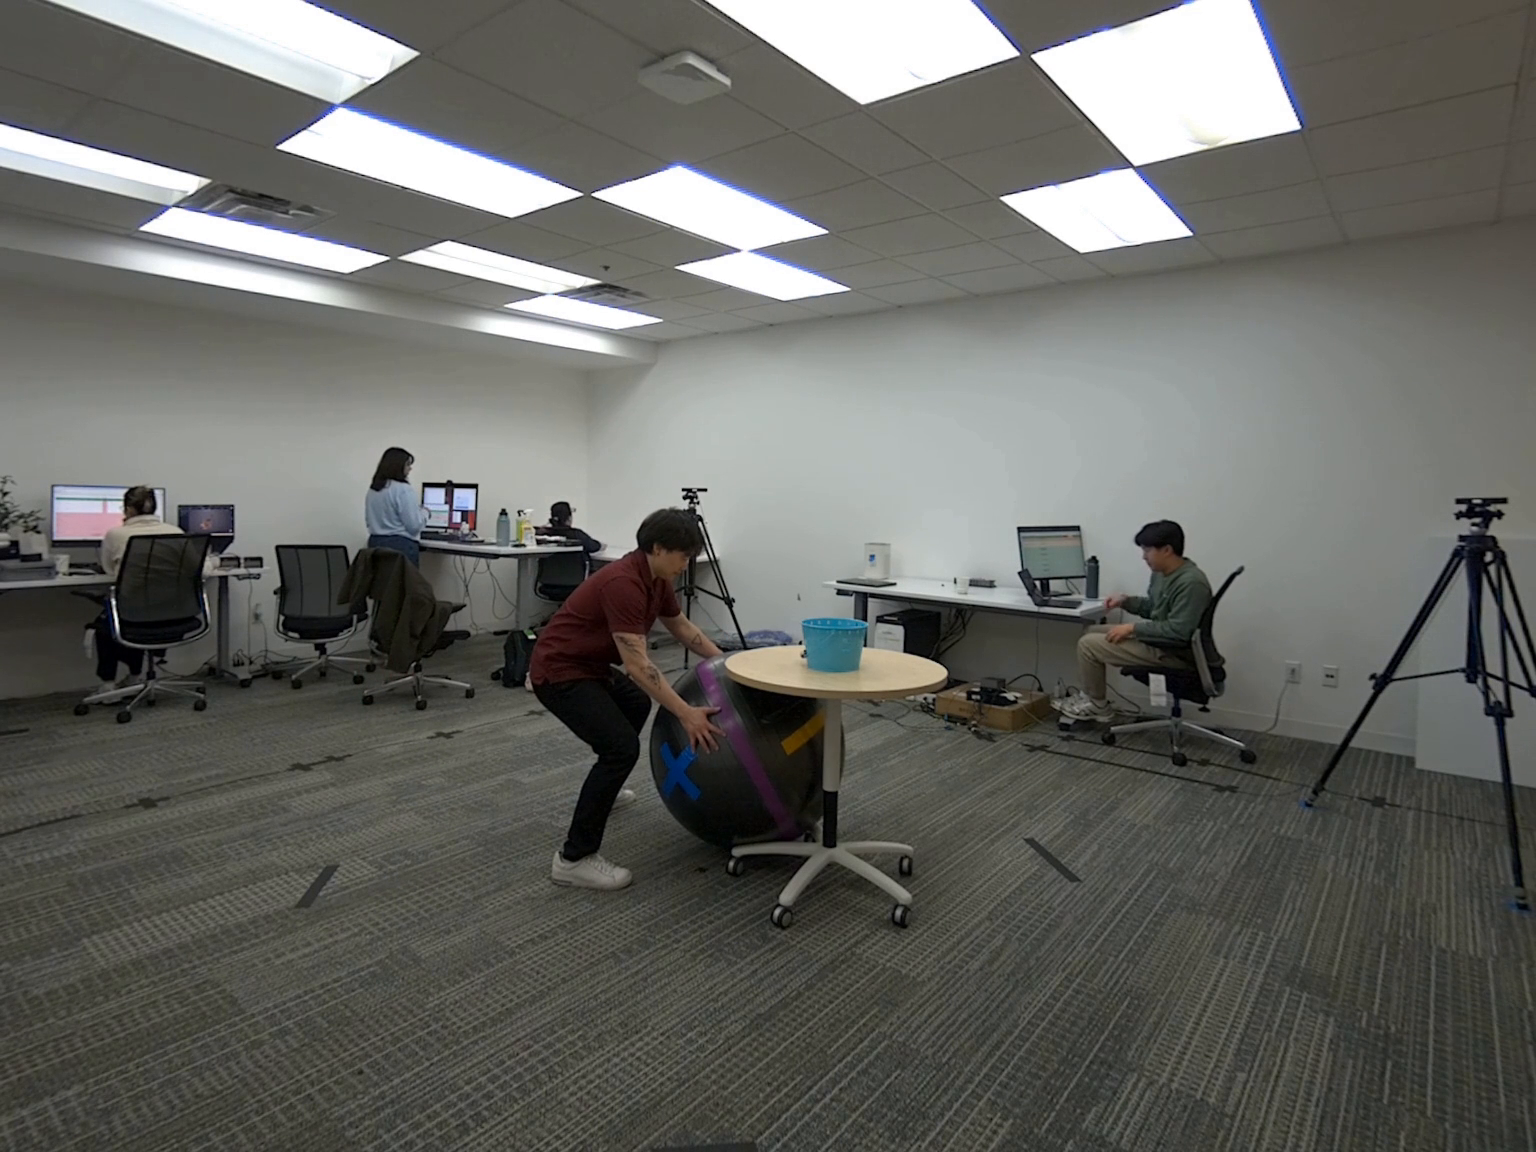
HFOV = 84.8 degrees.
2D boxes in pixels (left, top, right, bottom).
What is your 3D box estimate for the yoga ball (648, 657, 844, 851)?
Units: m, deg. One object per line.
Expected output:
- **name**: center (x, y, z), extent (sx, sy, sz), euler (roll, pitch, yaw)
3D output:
- **yoga ball**: center (-0.098, 0.681, 3.315), extent (0.757, 0.756, 0.761), euler (1, 4, -2)
